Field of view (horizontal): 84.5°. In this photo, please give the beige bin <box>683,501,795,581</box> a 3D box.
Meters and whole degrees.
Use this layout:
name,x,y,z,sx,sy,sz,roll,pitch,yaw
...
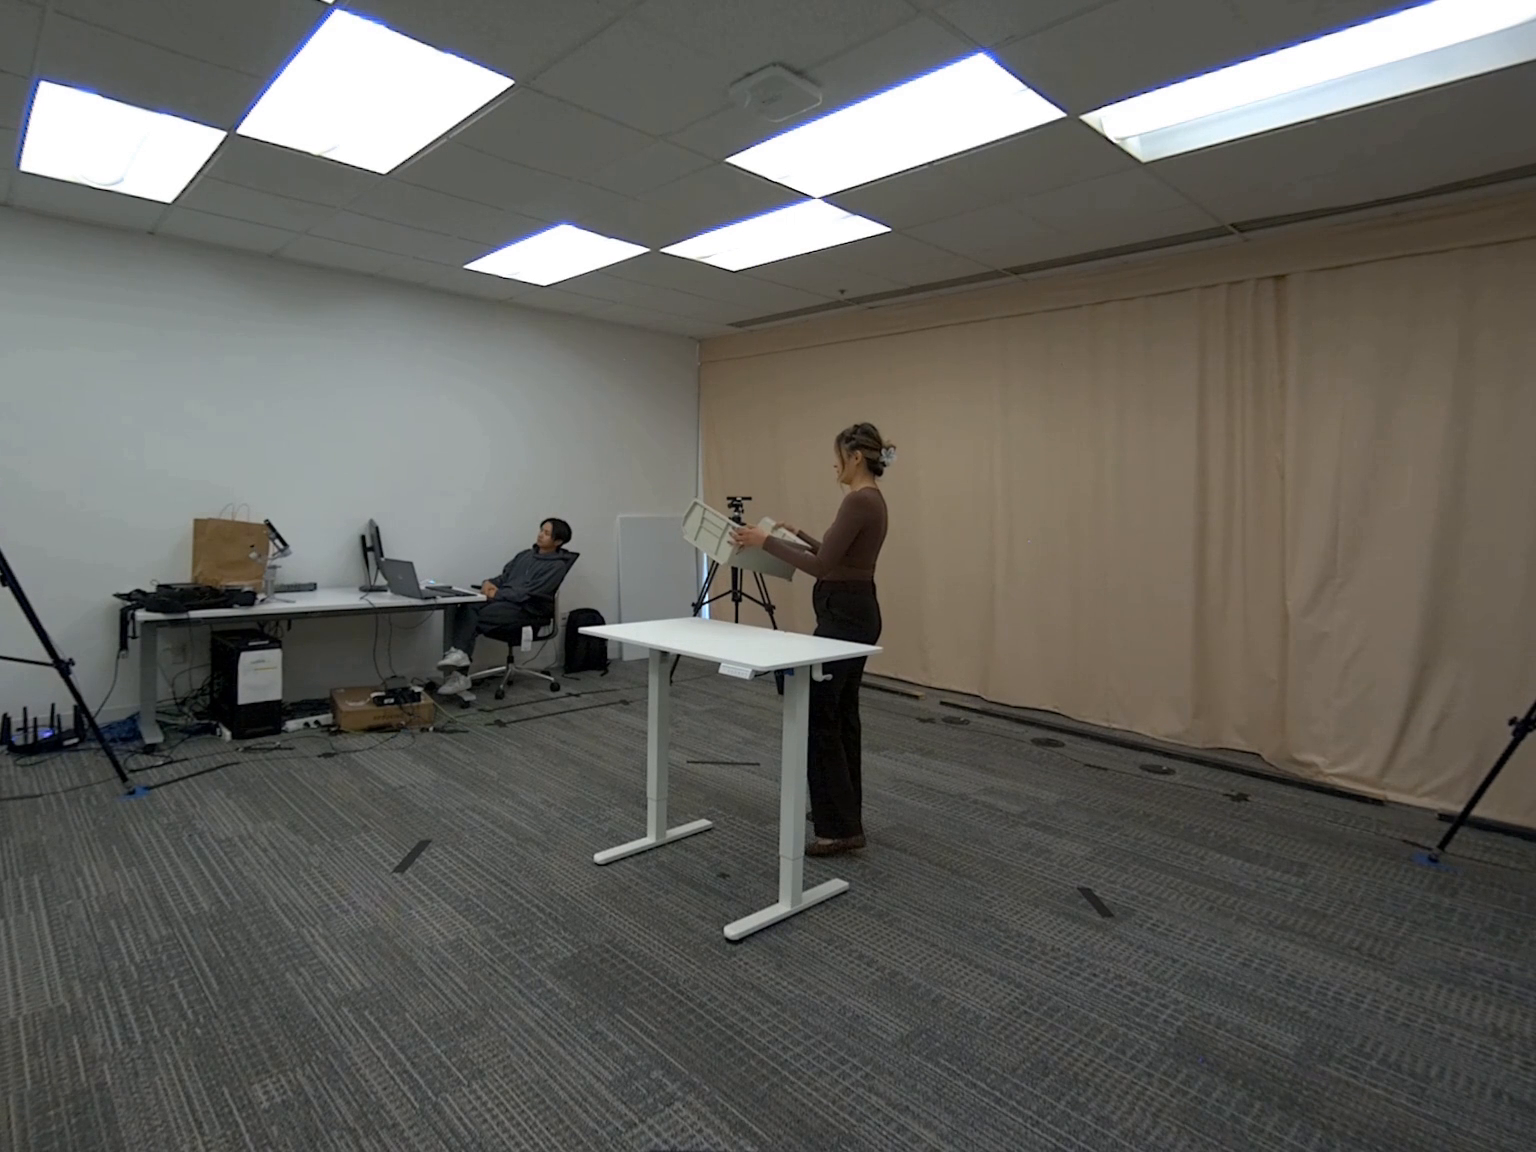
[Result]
name,x,y,z,sx,sy,sz,roll,pitch,yaw
beige bin,-0.116,-0.160,3.660,0.411,0.188,0.389,13,17,-40
